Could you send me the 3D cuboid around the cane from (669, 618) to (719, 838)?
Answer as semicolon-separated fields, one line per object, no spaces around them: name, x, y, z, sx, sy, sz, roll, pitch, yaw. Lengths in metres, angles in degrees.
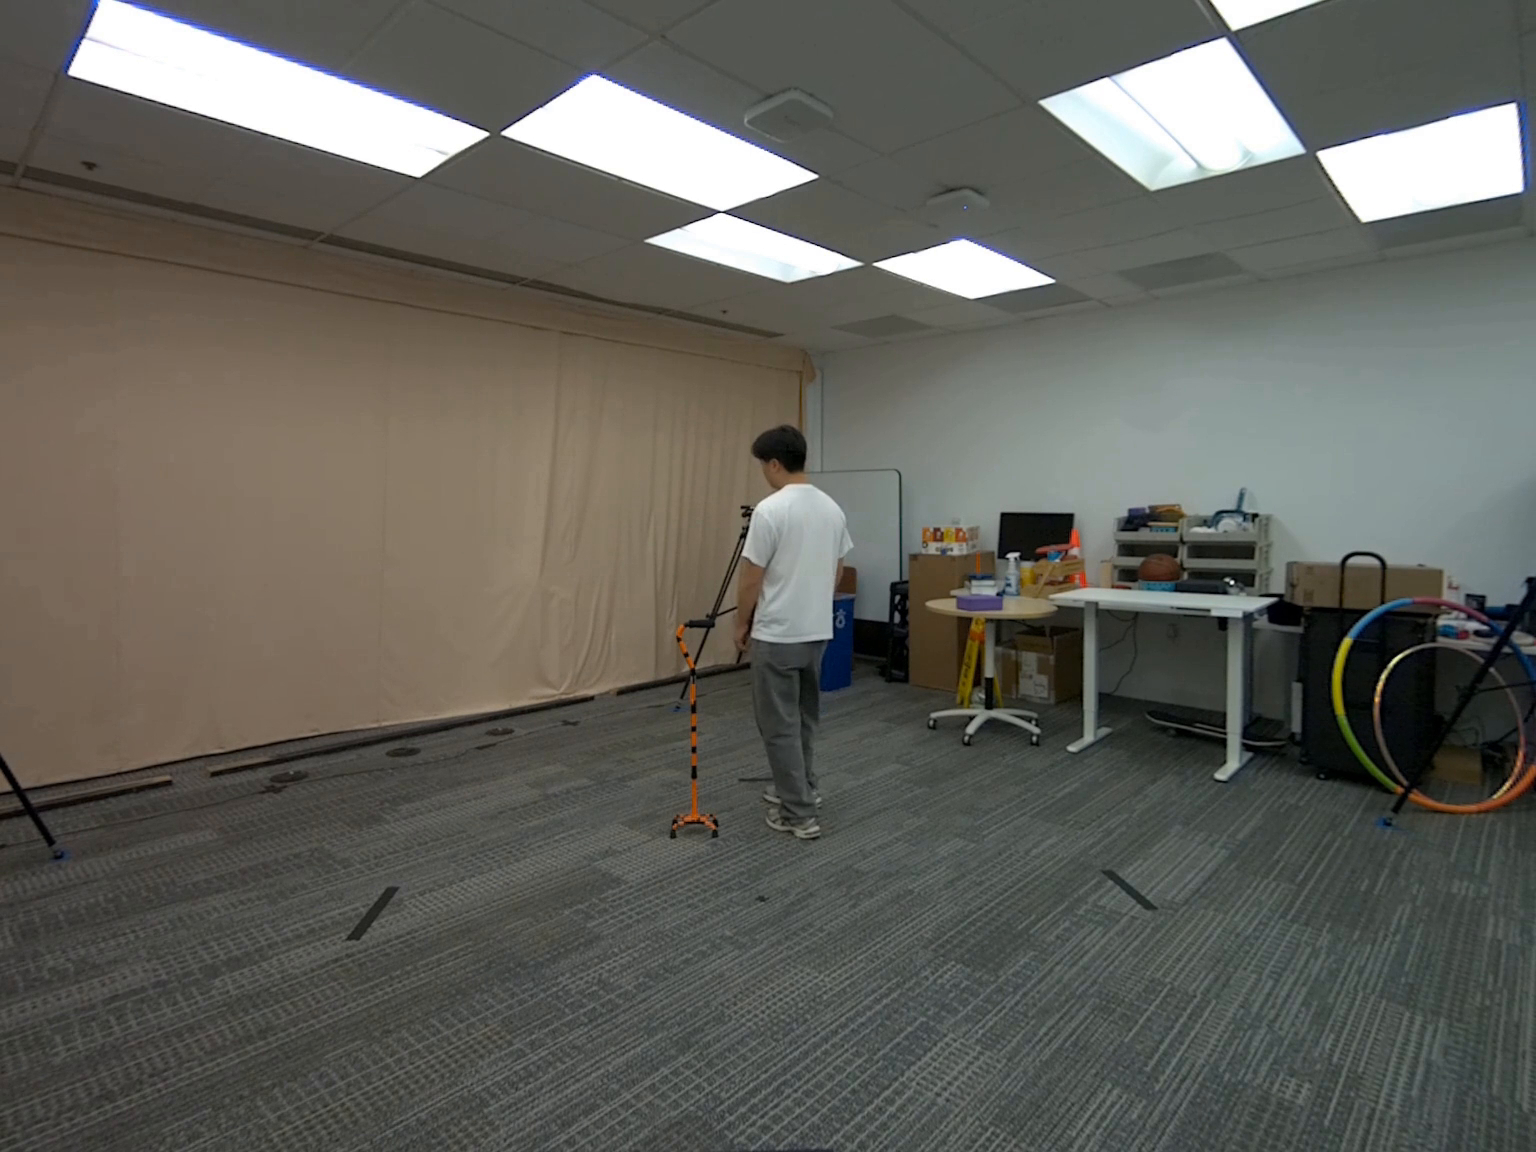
cane;-0.315;0.645;3.585;0.206;0.906;0.152;-1;3;-1
